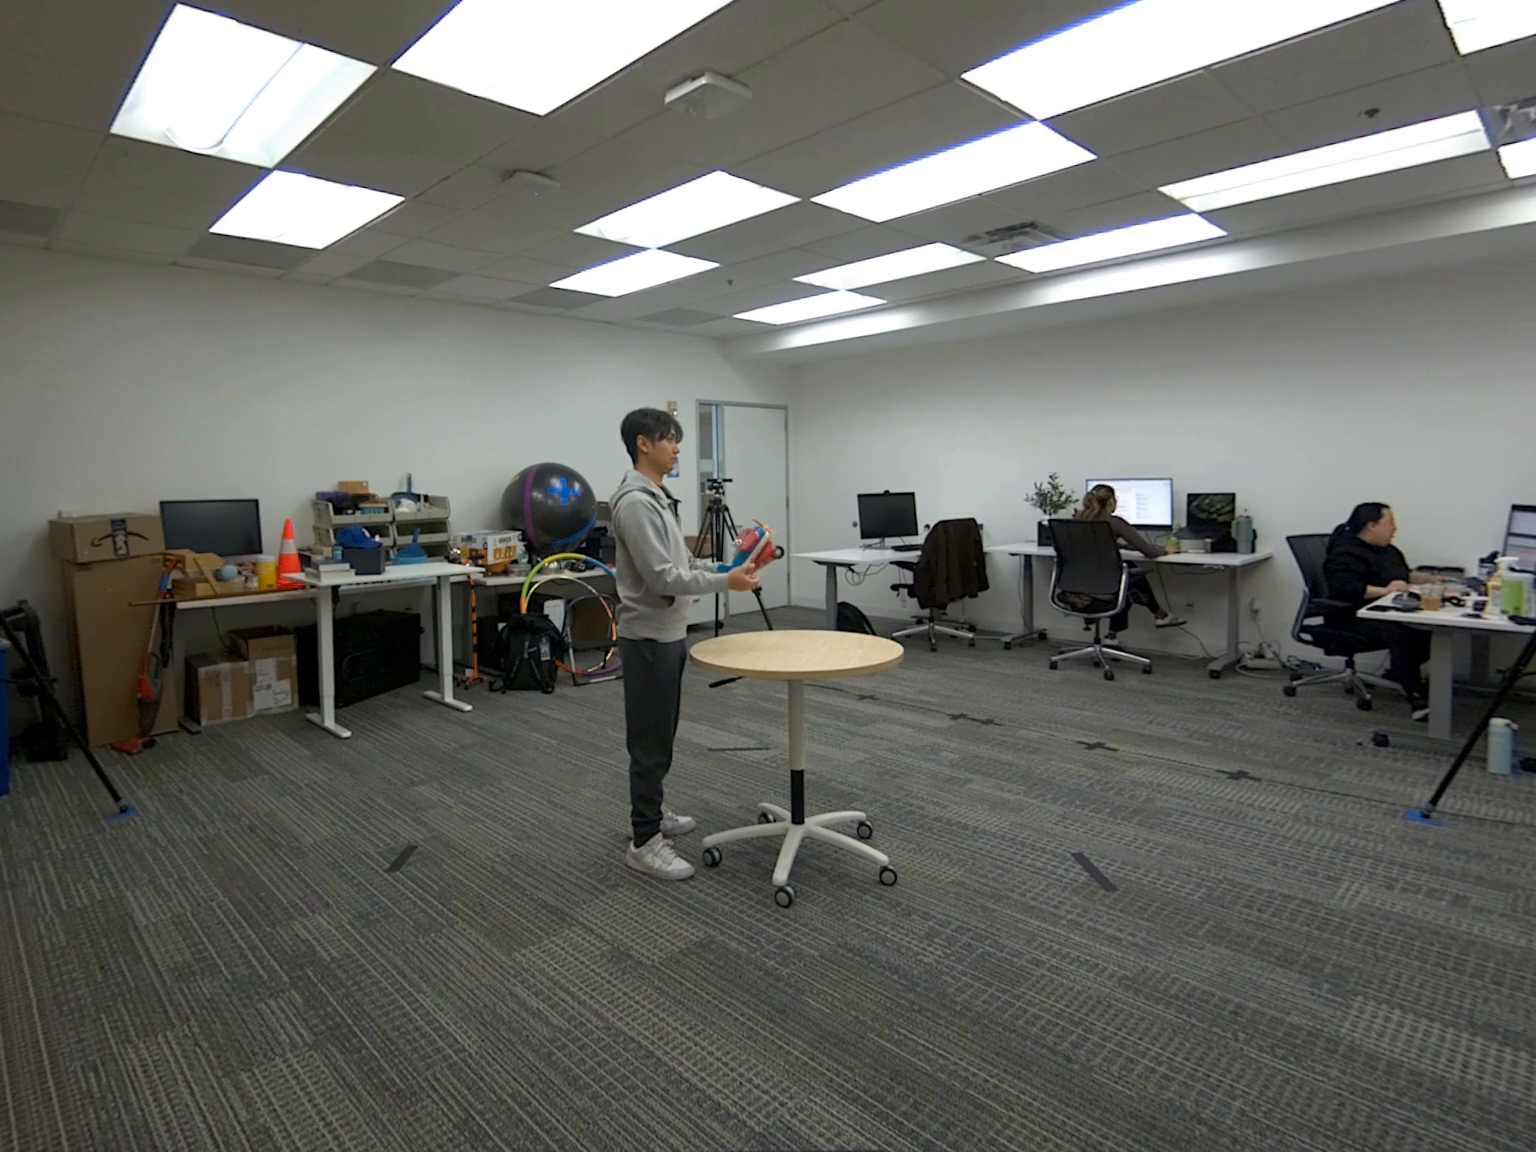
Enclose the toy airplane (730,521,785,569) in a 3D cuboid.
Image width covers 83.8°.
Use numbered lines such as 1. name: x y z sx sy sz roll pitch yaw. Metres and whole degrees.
1. toy airplane: -0.067 -0.081 3.294 0.255 0.154 0.259 -19 26 54
